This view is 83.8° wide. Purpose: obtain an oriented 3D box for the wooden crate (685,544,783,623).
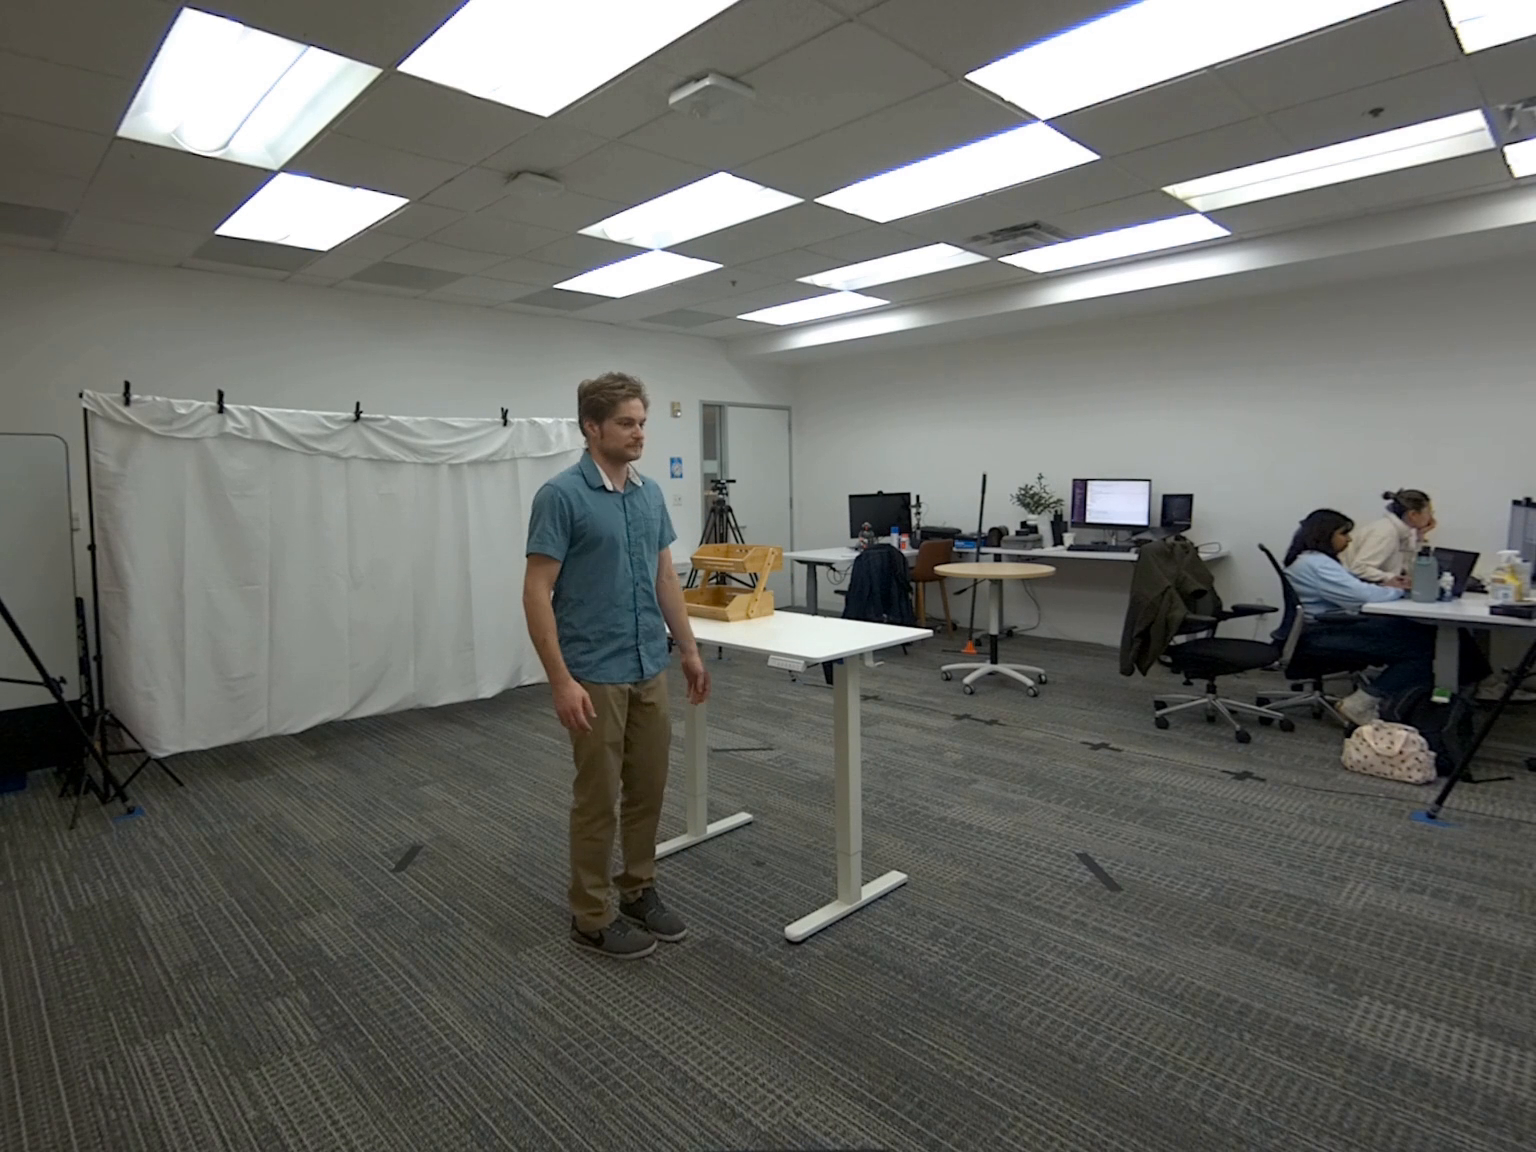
[{"bbox_3d":[-0.154,0.014,3.292,0.294,0.272,0.334,-5,6,-45],"label":"wooden crate"}]
